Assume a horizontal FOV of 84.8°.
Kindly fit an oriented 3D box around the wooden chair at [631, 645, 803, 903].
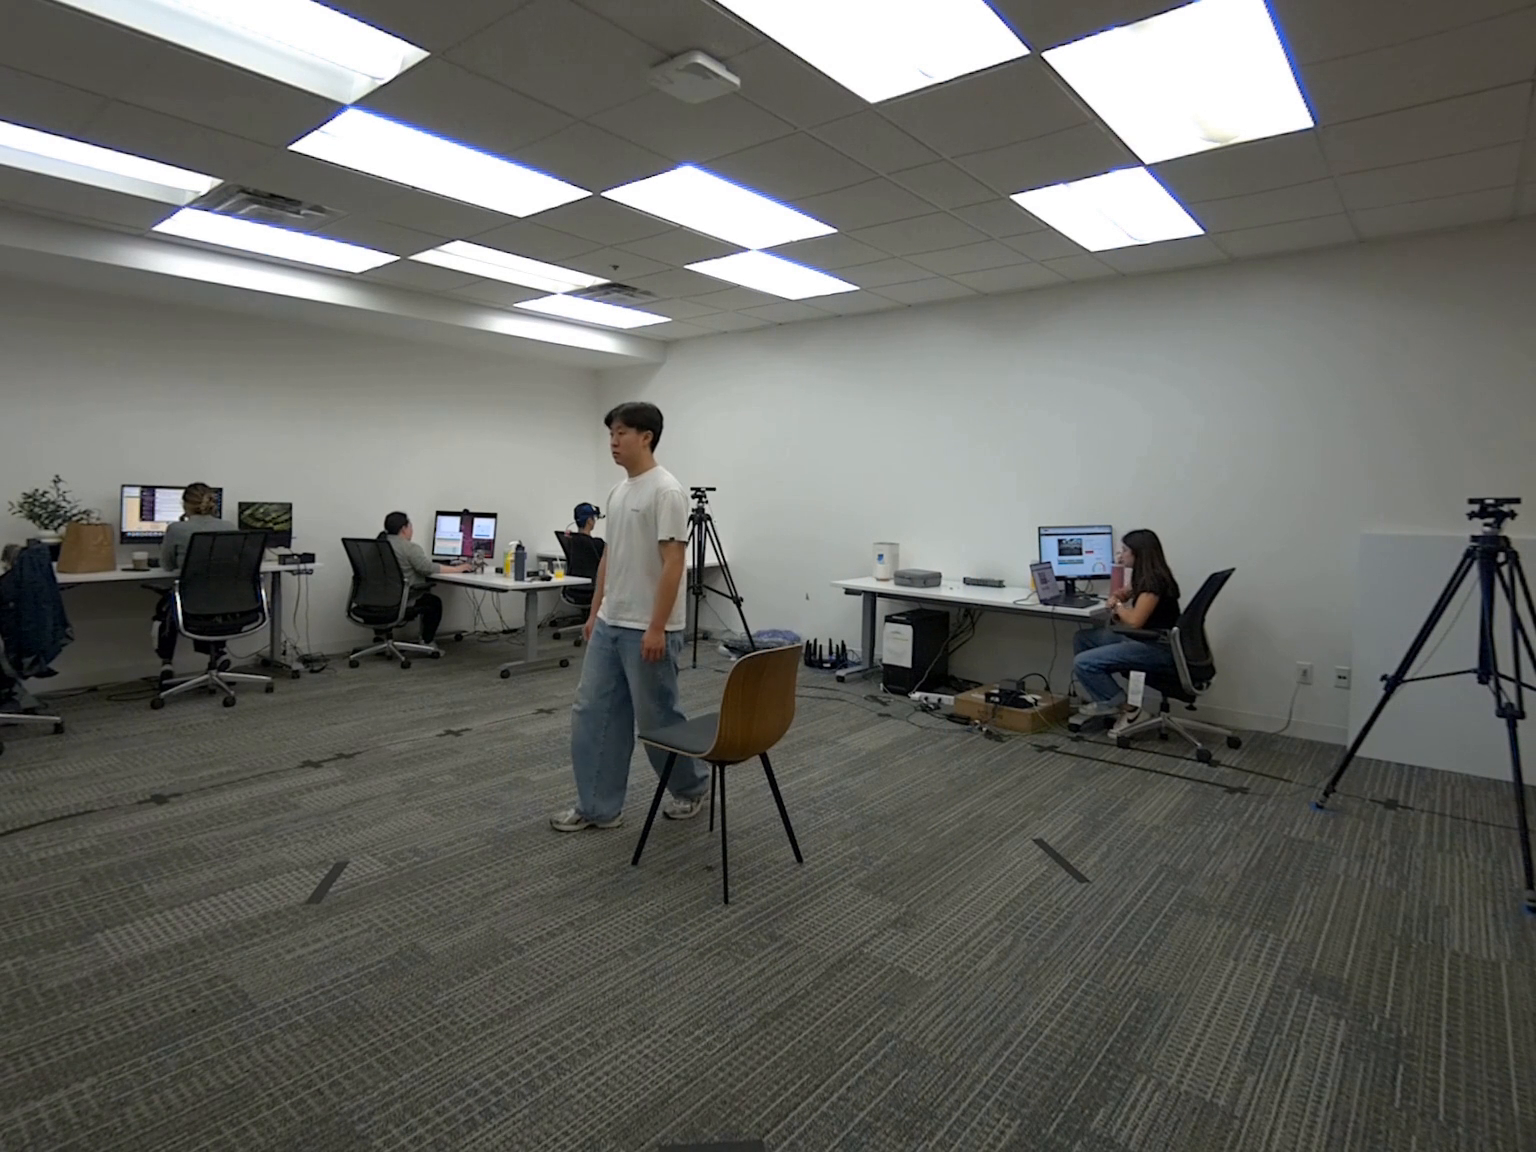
[{"bbox_3d":[-0.190,0.638,3.128,0.542,0.873,0.464,9,7,38],"label":"wooden chair"}]
